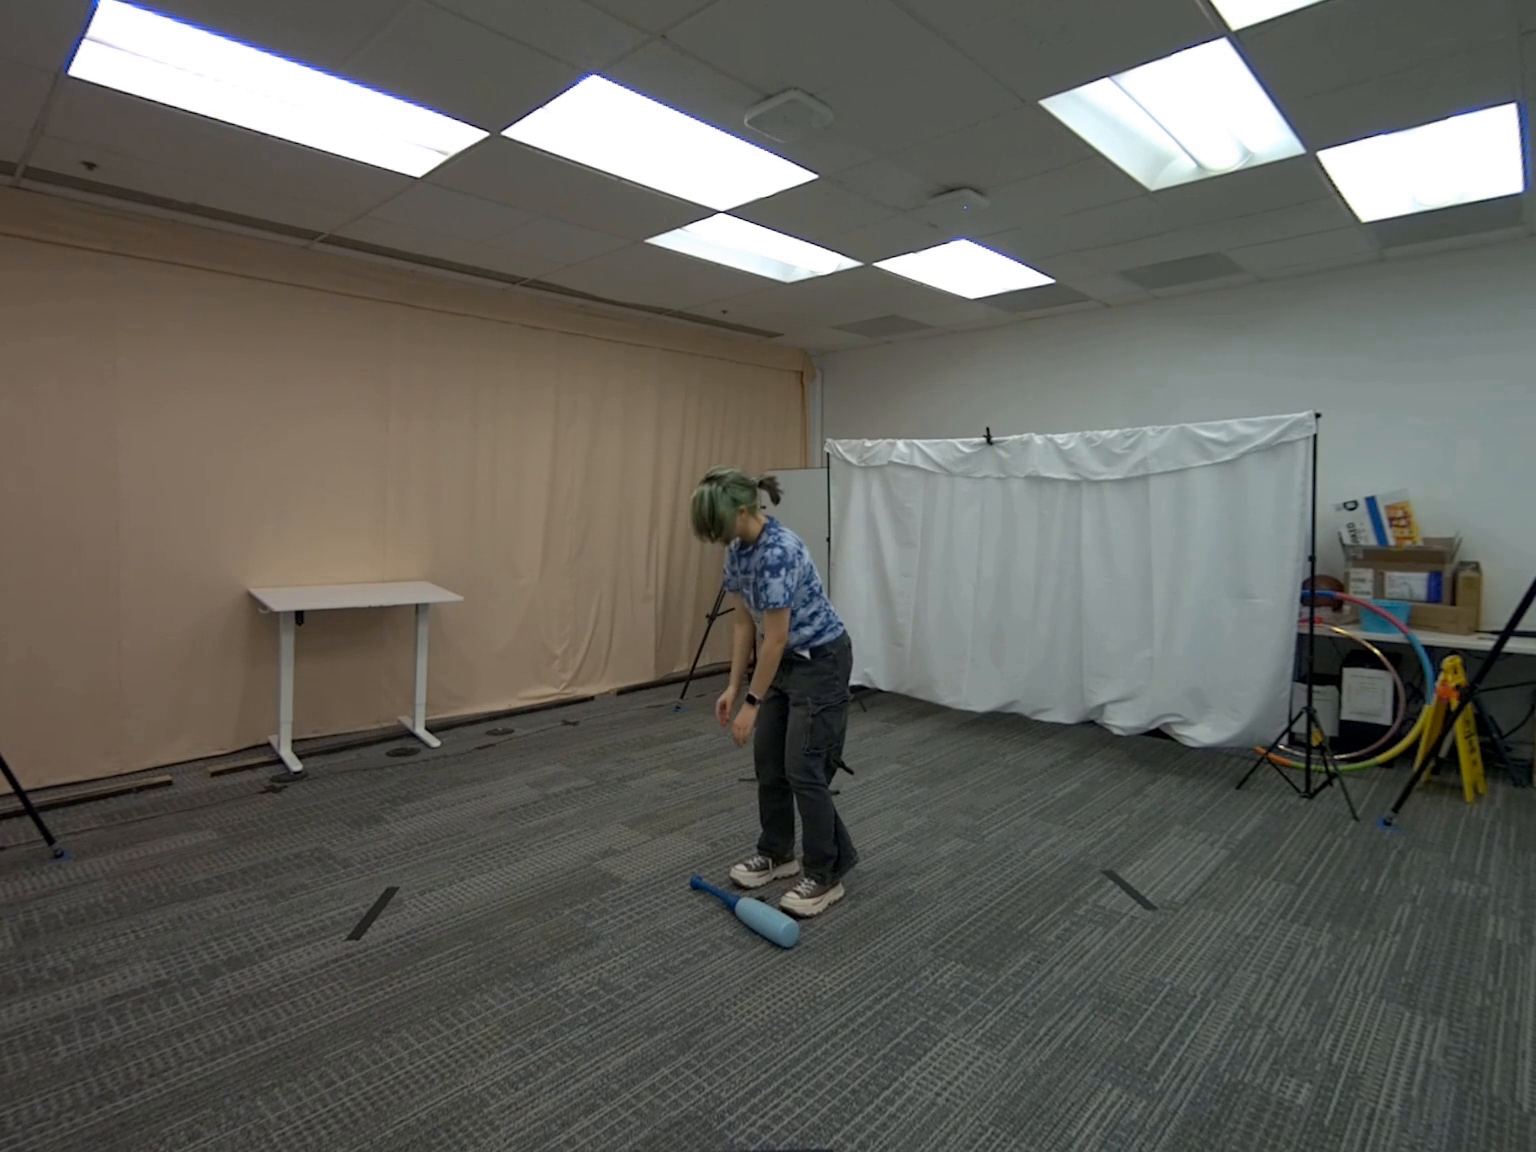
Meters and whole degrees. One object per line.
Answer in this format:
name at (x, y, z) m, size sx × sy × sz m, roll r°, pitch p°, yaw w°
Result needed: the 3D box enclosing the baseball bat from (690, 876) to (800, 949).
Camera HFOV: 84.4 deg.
baseball bat at (-0.095, 1.113, 2.857) m, size 0.086 × 0.089 × 0.560 m, roll -3°, pitch 3°, yaw -36°
